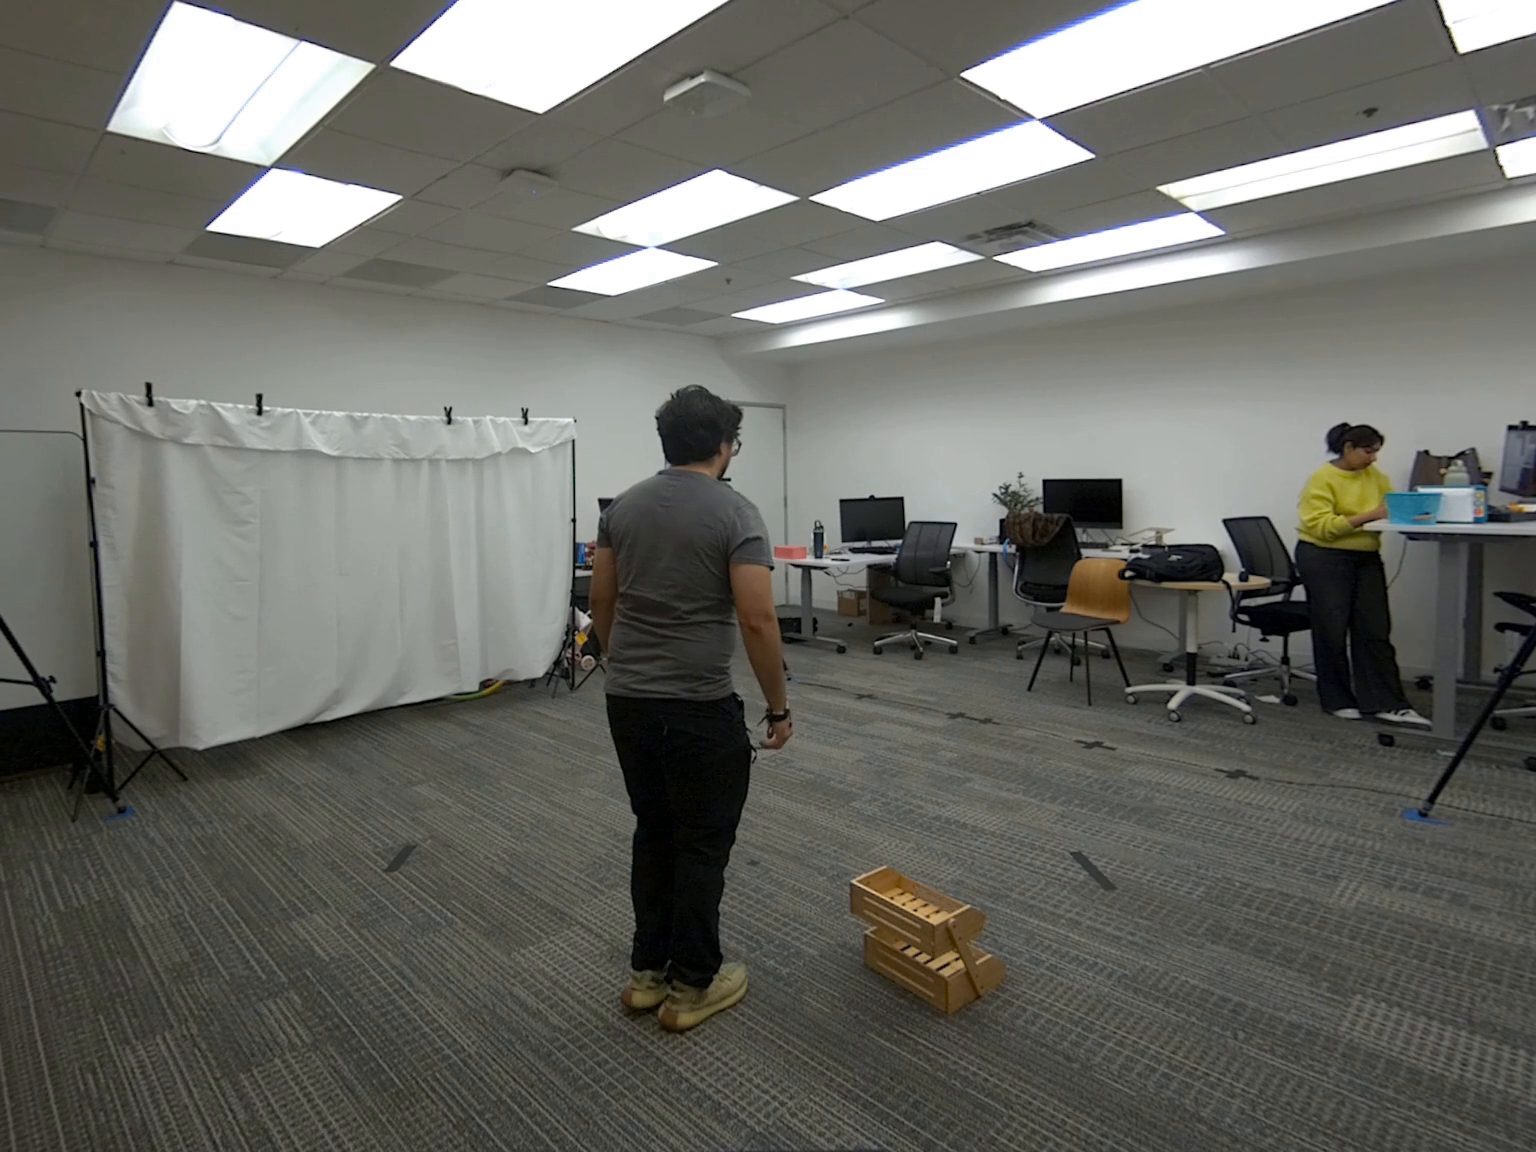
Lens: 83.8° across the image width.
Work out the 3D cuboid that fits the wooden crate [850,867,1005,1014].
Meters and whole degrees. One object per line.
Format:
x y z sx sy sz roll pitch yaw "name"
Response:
0.456 0.986 2.382 0.294 0.272 0.334 -6 7 -39 "wooden crate"
